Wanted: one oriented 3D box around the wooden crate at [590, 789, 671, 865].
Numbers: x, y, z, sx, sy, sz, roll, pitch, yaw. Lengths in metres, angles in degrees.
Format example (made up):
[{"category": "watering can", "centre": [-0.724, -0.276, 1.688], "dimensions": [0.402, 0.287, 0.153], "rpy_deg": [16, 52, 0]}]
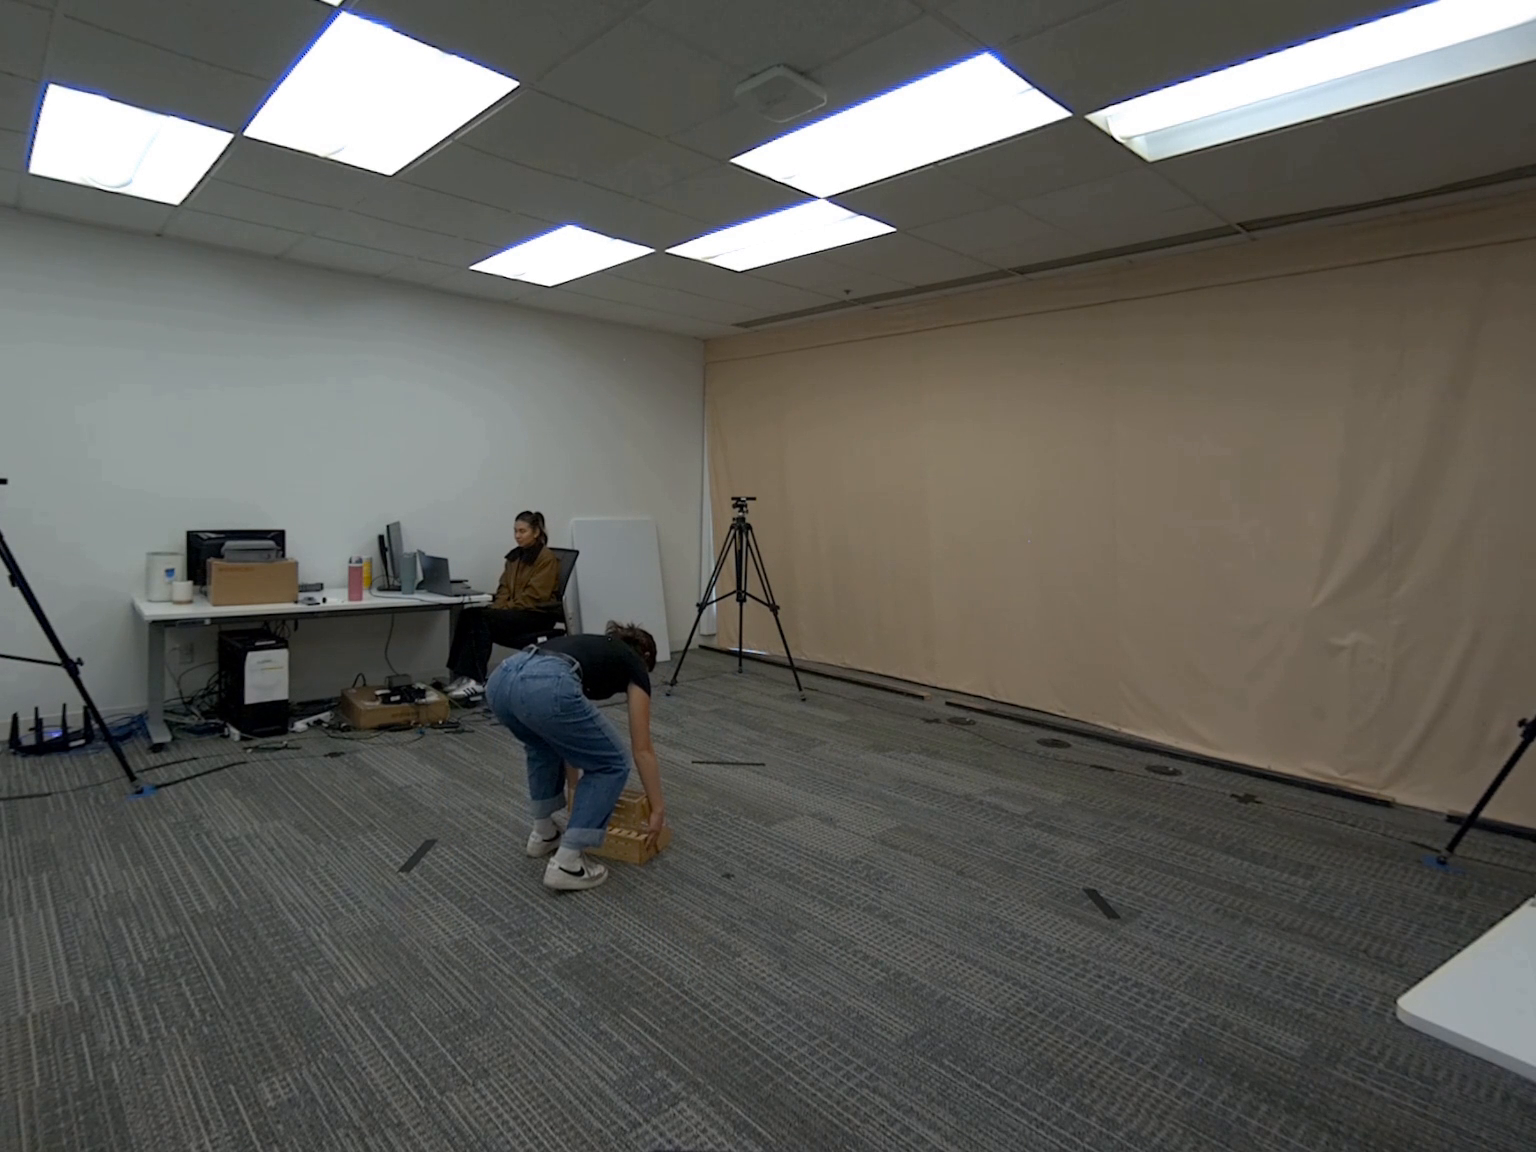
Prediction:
[{"category": "wooden crate", "centre": [-0.586, 0.948, 3.326], "dimensions": [0.330, 0.272, 0.297], "rpy_deg": [3, 5, 22]}]
